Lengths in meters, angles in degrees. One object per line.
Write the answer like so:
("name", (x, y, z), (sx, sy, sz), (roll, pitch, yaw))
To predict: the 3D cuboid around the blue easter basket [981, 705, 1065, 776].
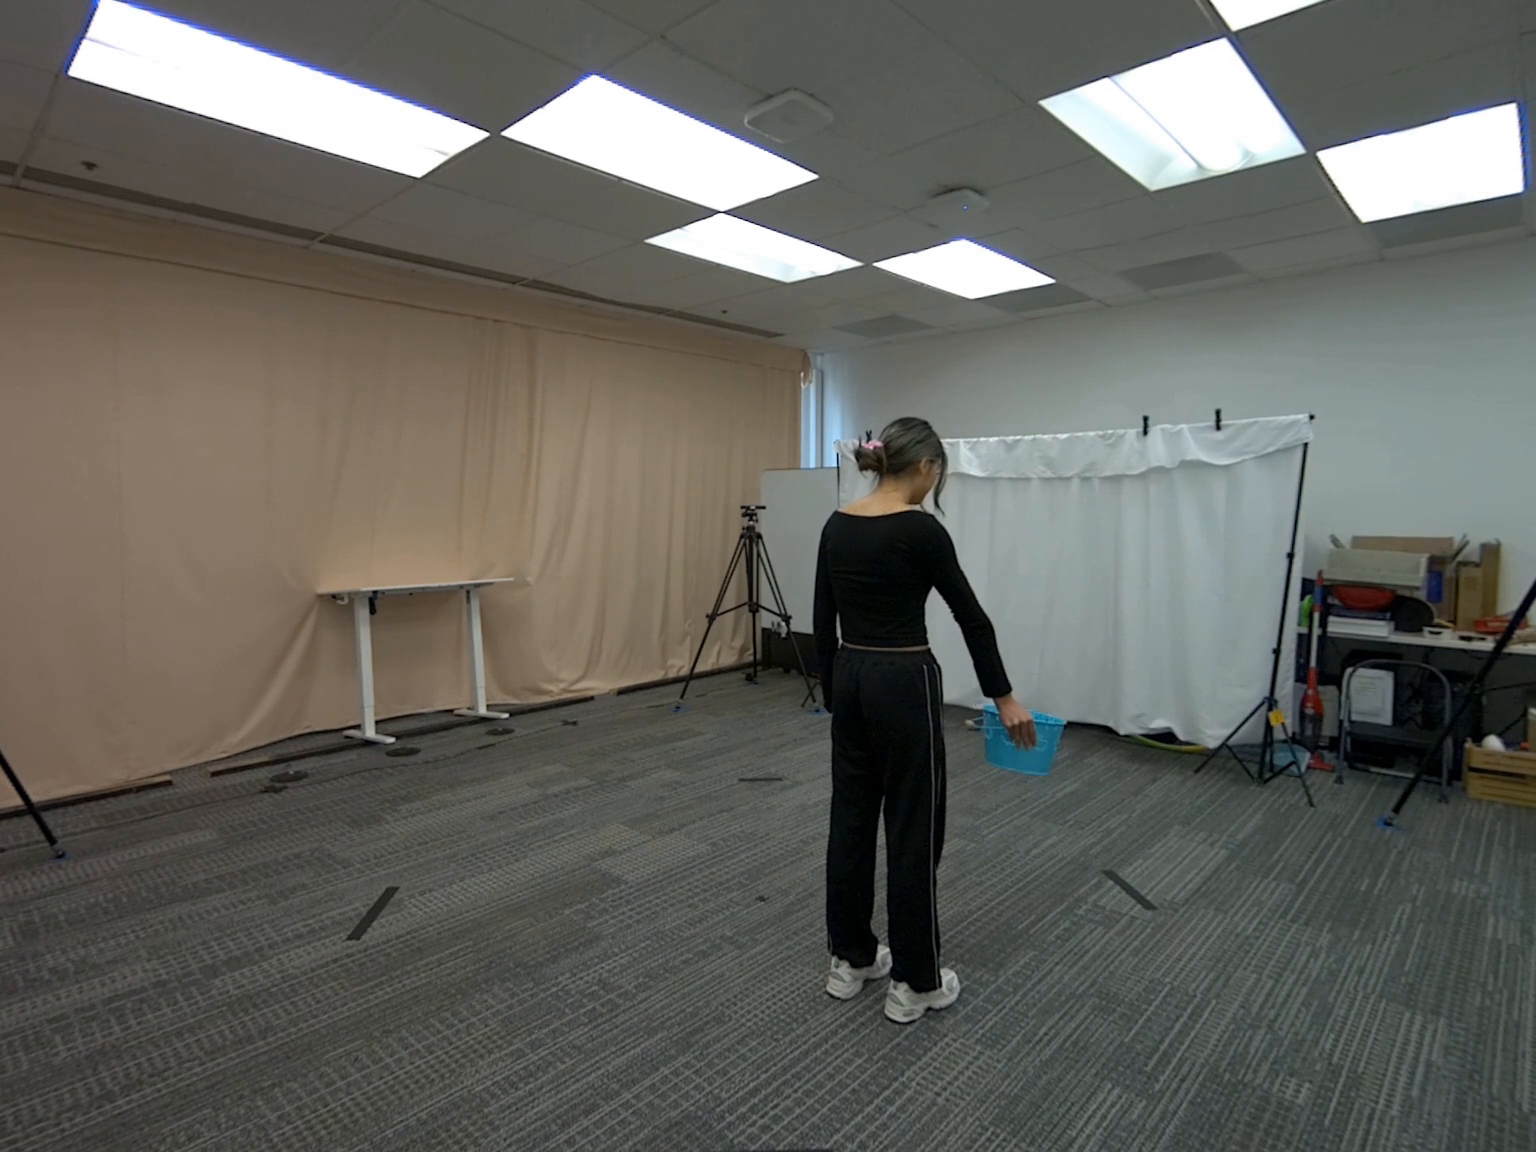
("blue easter basket", (0.741, 0.476, 2.427), (0.243, 0.156, 0.244), (8, 0, -2))
